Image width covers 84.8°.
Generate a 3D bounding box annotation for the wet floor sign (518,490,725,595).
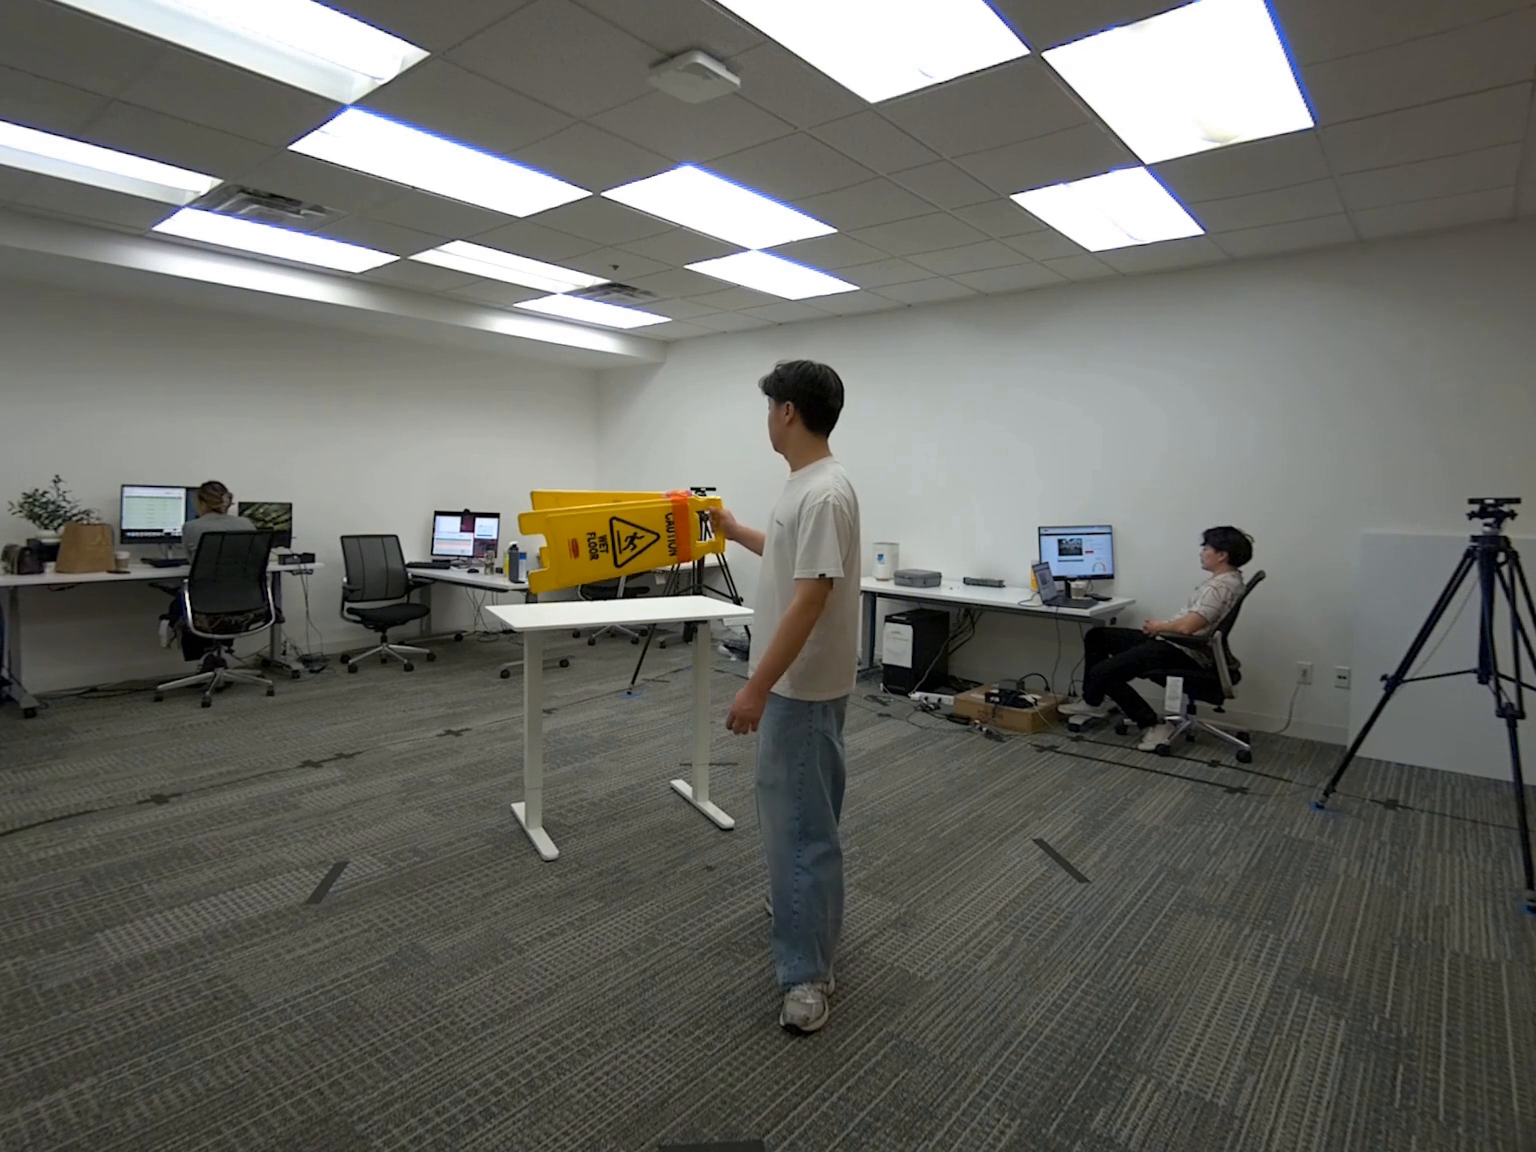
[{"bbox_3d":[-0.474,-0.130,2.835,0.645,0.276,0.296,-6,21,-2],"label":"wet floor sign"}]
